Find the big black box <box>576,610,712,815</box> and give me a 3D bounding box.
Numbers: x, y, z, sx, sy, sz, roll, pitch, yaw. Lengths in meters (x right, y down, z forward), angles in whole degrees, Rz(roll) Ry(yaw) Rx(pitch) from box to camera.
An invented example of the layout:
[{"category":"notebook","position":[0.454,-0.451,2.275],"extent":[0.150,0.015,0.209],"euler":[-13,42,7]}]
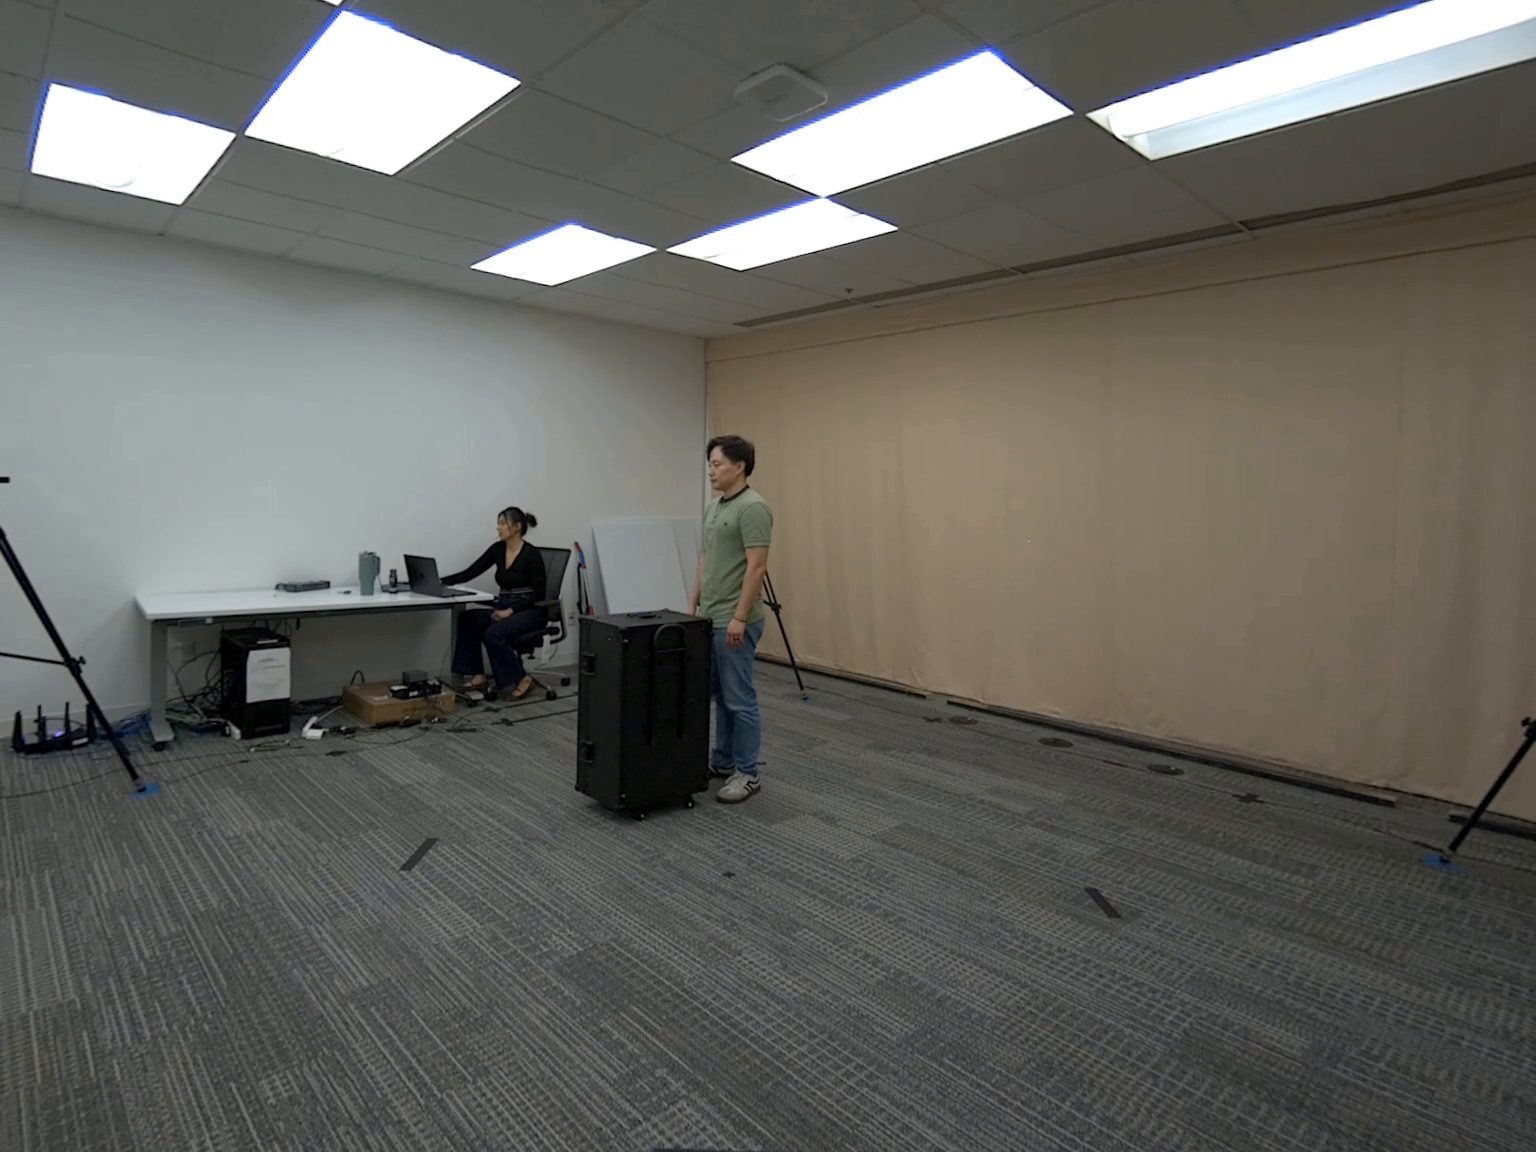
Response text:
[{"category":"big black box","position":[-0.559,0.611,3.754],"extent":[0.509,0.859,0.406],"euler":[-1,5,-41]}]
